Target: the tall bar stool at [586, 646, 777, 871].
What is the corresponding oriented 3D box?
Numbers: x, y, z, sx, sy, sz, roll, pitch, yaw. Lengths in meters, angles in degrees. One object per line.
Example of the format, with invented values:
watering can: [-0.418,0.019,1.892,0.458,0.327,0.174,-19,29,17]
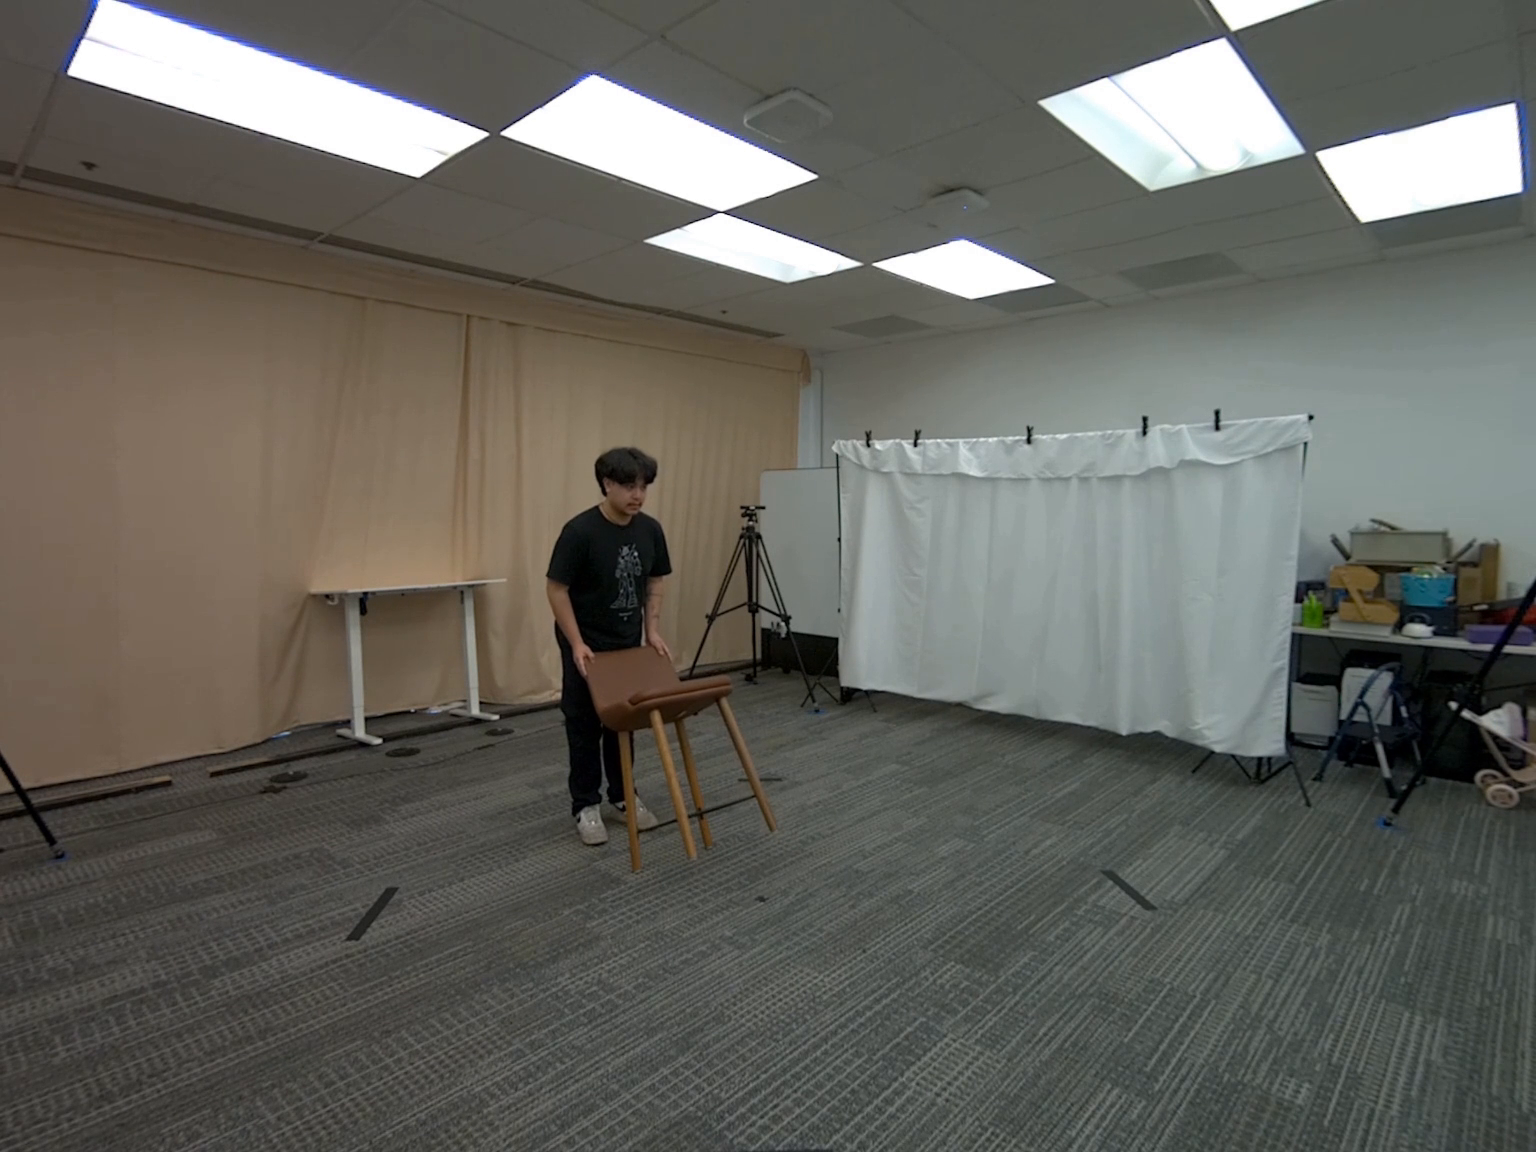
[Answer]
tall bar stool: [-0.372,0.637,3.291,0.443,0.904,0.474,-4,-22,-39]
